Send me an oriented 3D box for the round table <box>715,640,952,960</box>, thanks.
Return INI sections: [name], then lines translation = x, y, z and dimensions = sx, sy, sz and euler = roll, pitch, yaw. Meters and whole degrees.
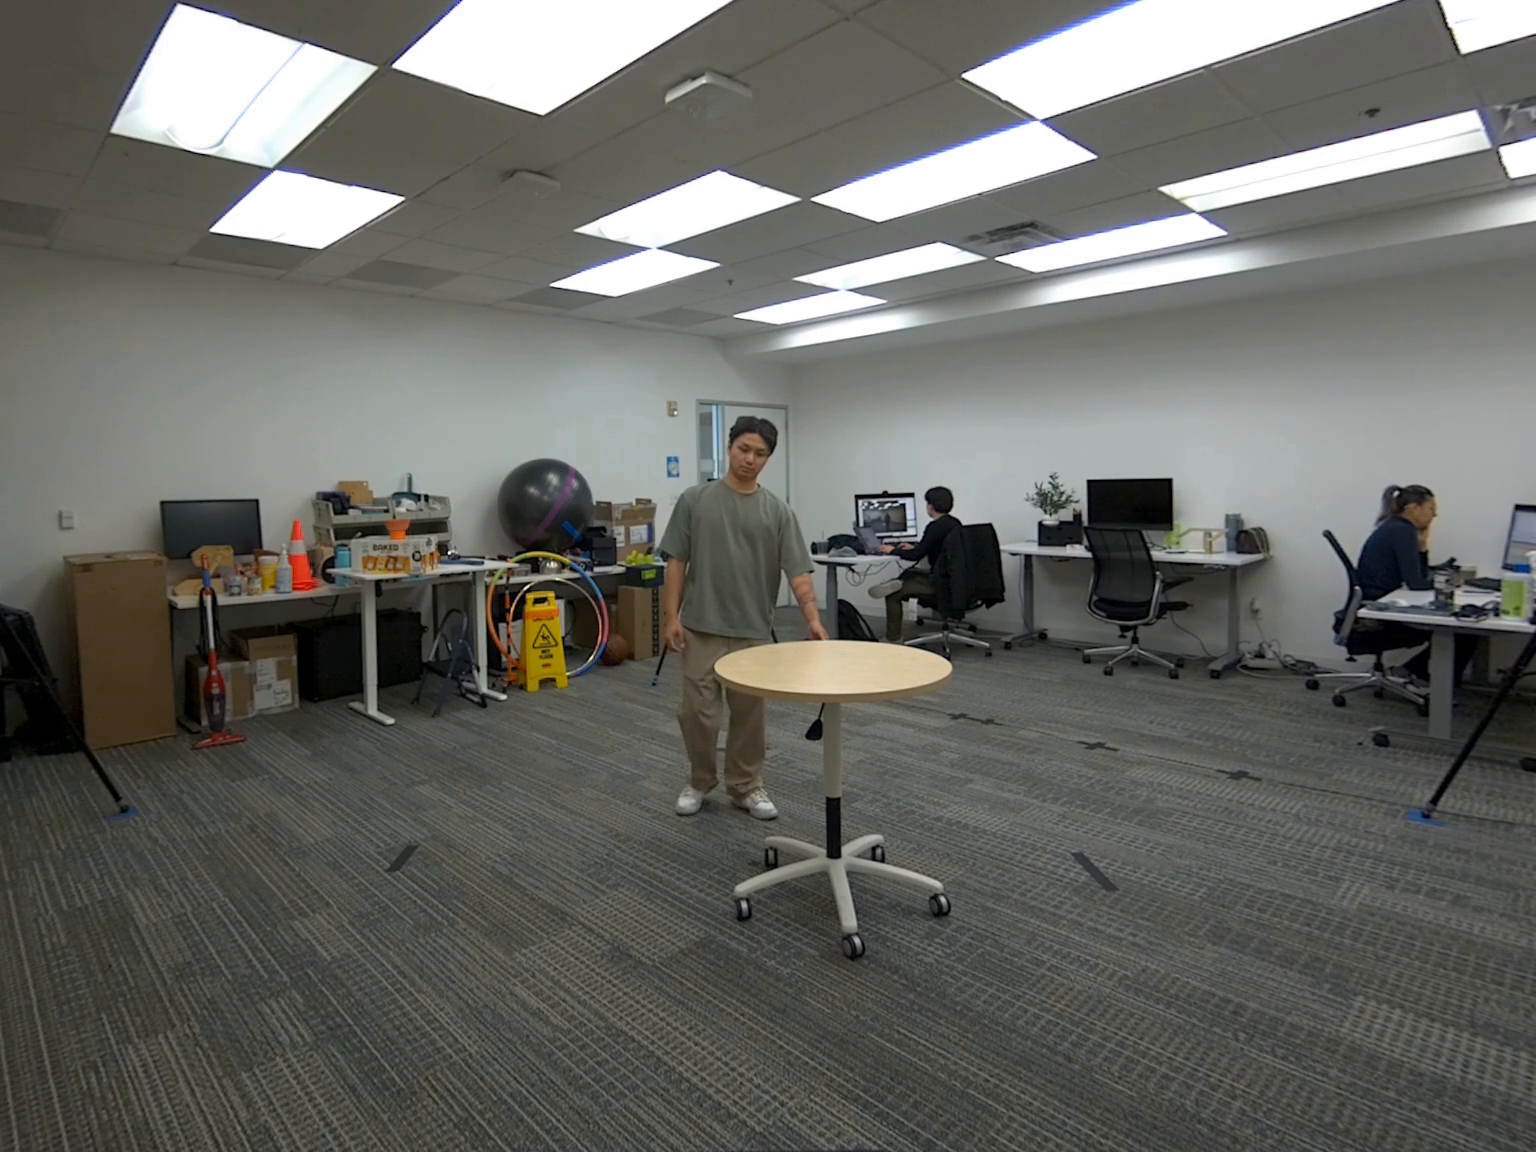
[round table]
translation = 0.233, 0.674, 2.828
dimensions = 0.784, 0.783, 0.789
euler = -1, 5, -2
